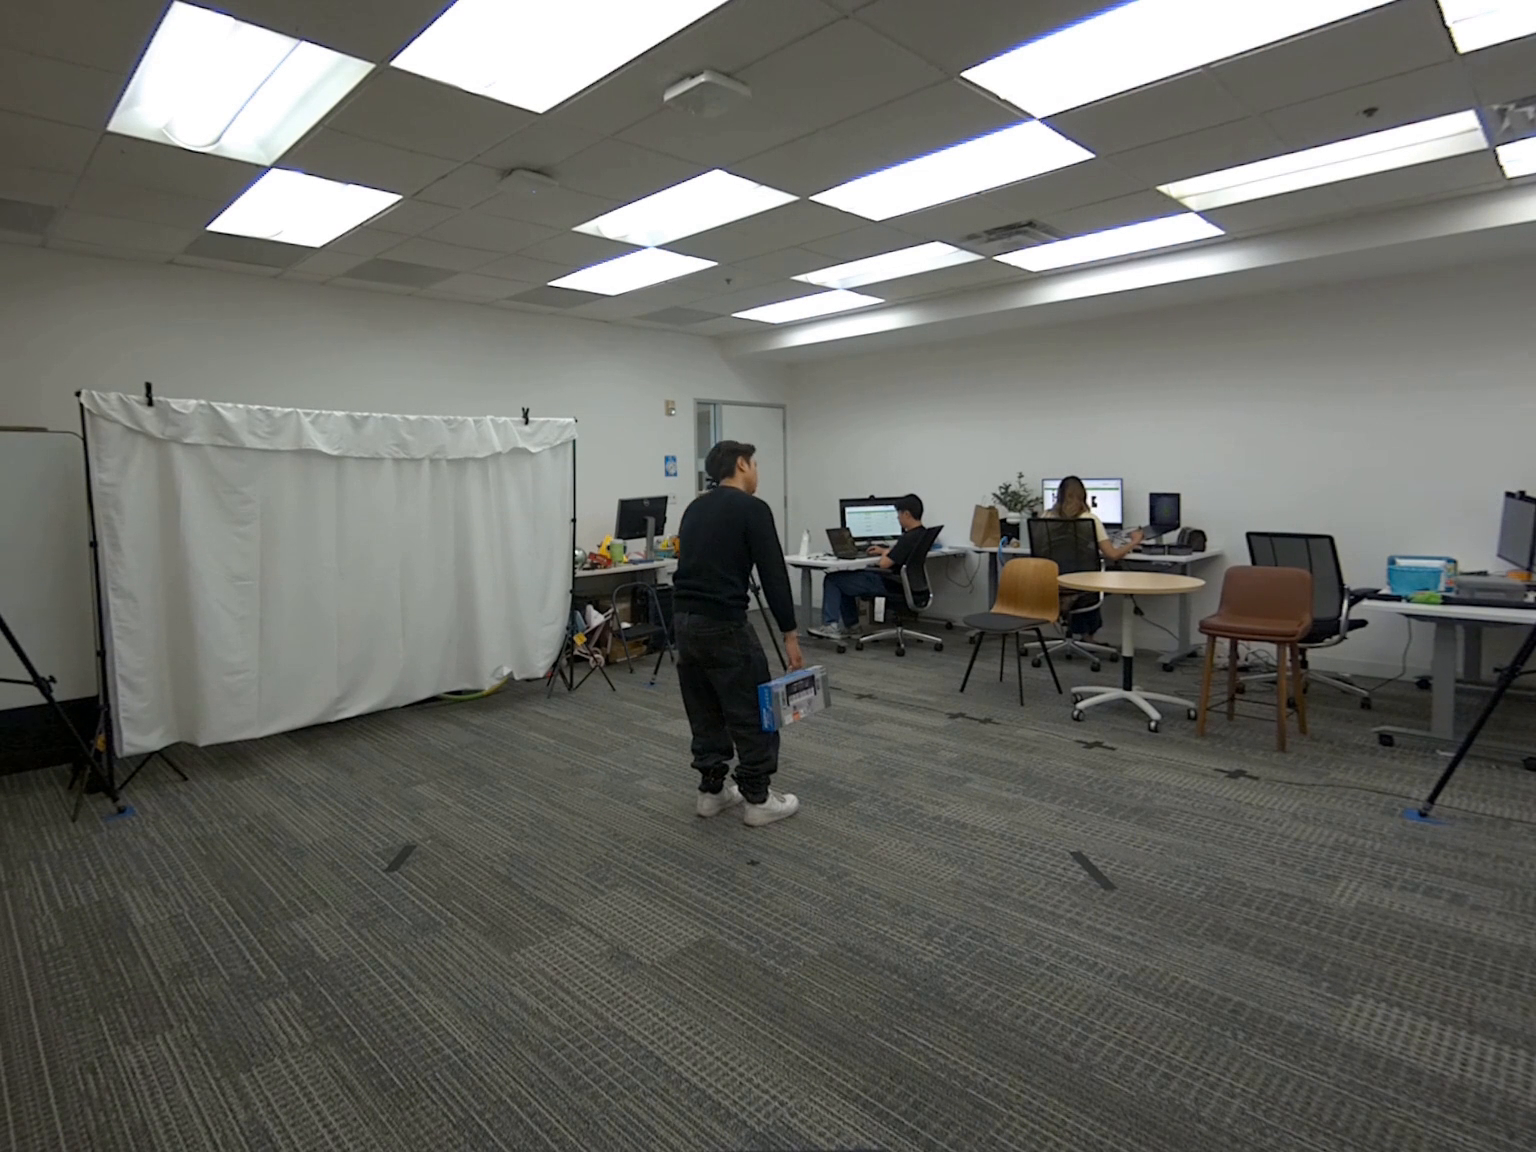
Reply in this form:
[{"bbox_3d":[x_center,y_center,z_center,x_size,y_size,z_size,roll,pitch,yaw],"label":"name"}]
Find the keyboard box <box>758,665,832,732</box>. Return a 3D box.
[{"bbox_3d":[0.108,0.486,3.419,0.060,0.176,0.426,-7,2,35],"label":"keyboard box"}]
